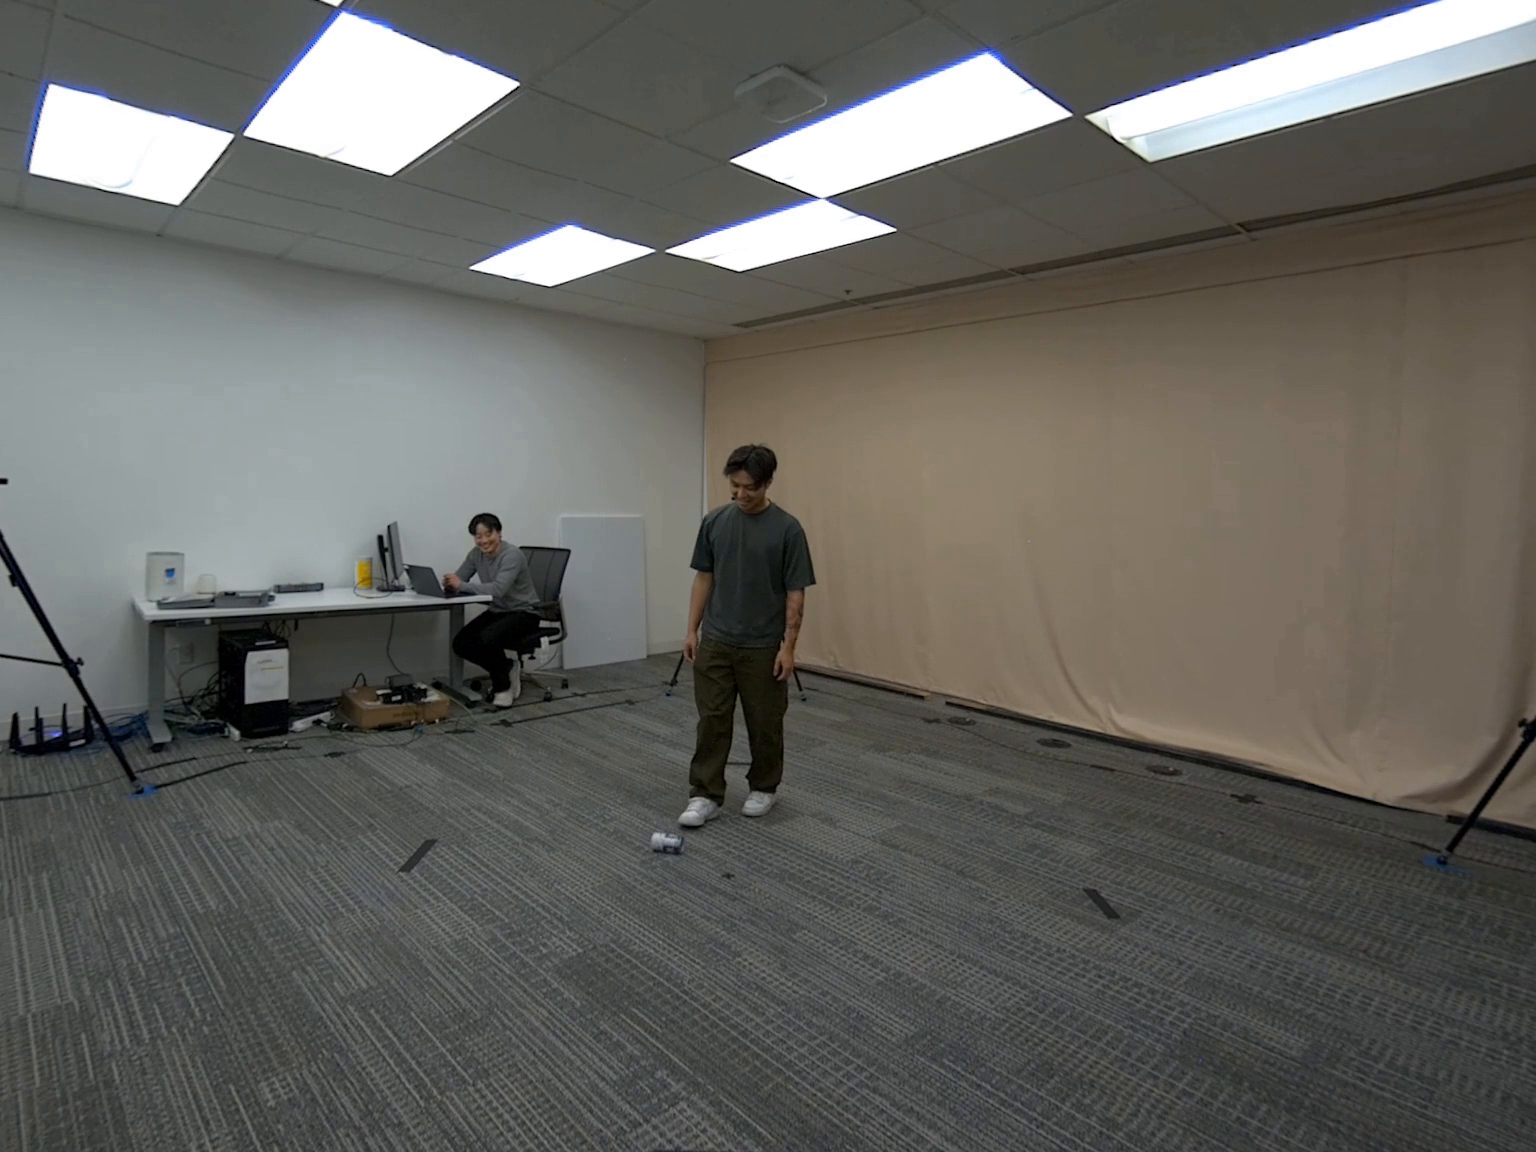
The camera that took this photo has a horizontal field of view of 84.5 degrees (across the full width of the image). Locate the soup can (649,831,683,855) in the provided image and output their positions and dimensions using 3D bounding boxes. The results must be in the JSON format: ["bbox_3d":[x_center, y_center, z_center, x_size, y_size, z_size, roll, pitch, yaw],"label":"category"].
[{"bbox_3d":[-0.411,1.048,3.306,0.123,0.067,0.066,9,6,12],"label":"soup can"}]
